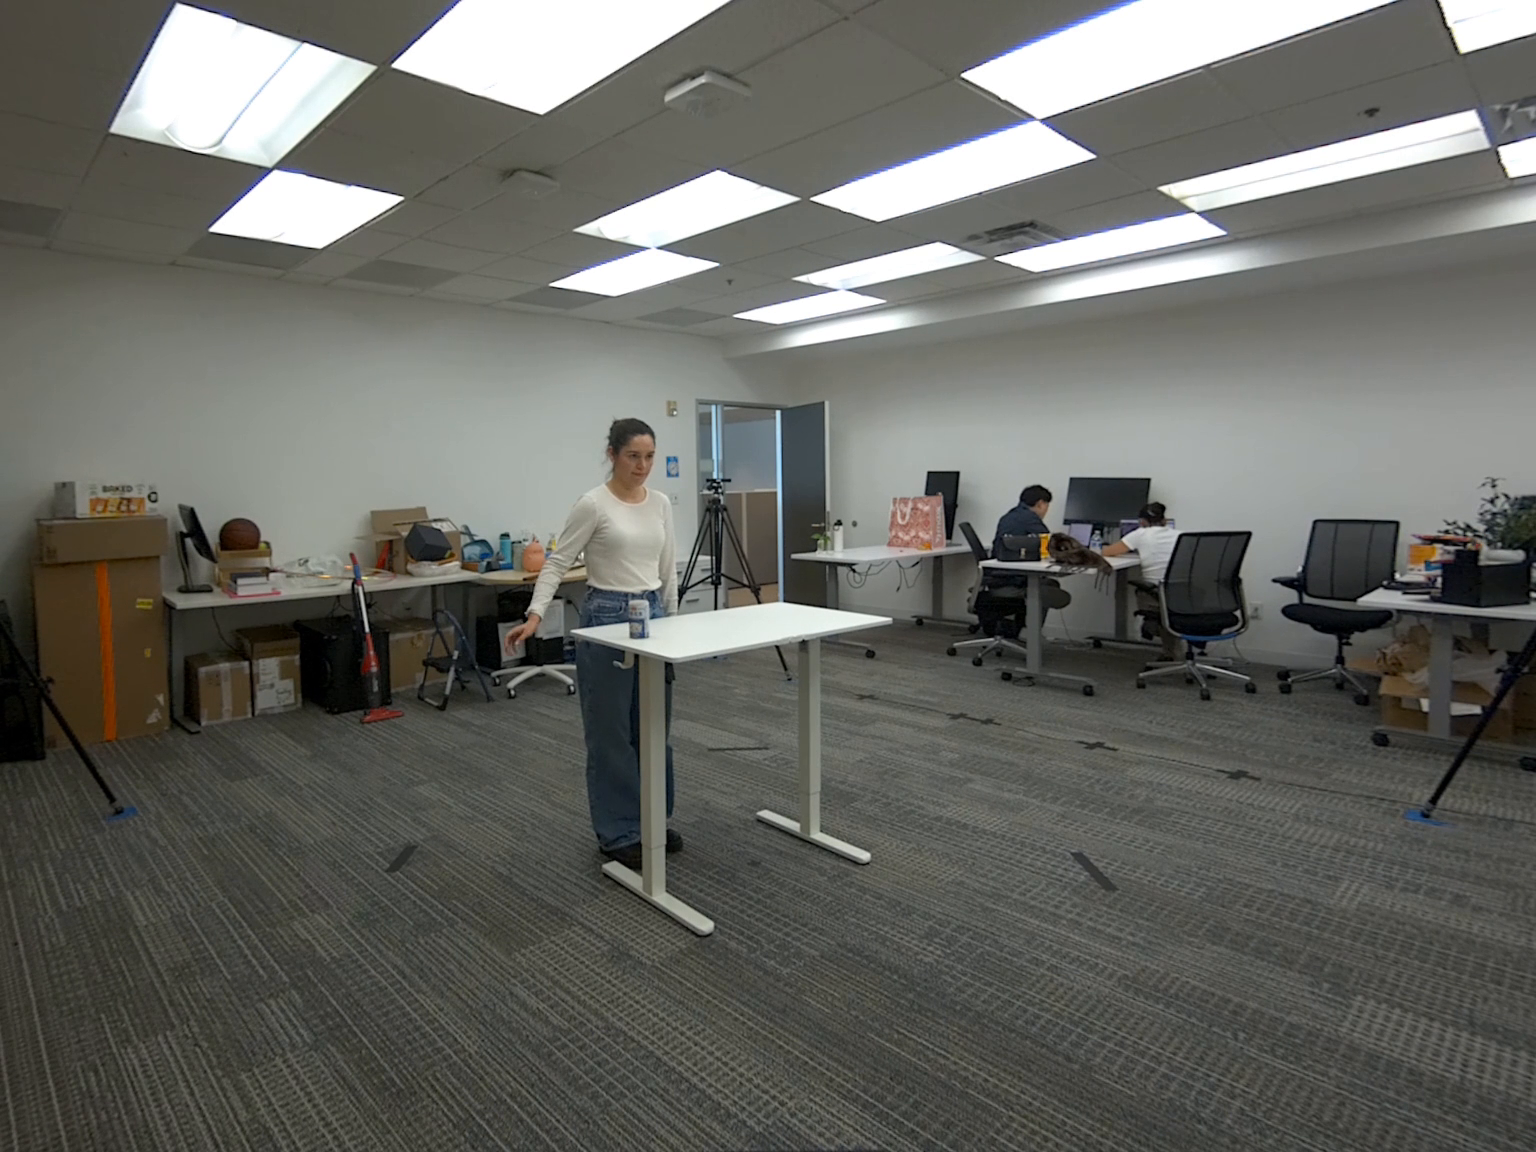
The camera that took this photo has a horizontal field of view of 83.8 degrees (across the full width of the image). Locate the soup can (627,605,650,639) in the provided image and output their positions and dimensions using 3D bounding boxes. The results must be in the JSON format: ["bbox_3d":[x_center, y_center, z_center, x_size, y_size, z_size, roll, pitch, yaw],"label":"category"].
[{"bbox_3d":[-0.450,0.166,2.822,0.067,0.067,0.122,-1,6,-2],"label":"soup can"}]
